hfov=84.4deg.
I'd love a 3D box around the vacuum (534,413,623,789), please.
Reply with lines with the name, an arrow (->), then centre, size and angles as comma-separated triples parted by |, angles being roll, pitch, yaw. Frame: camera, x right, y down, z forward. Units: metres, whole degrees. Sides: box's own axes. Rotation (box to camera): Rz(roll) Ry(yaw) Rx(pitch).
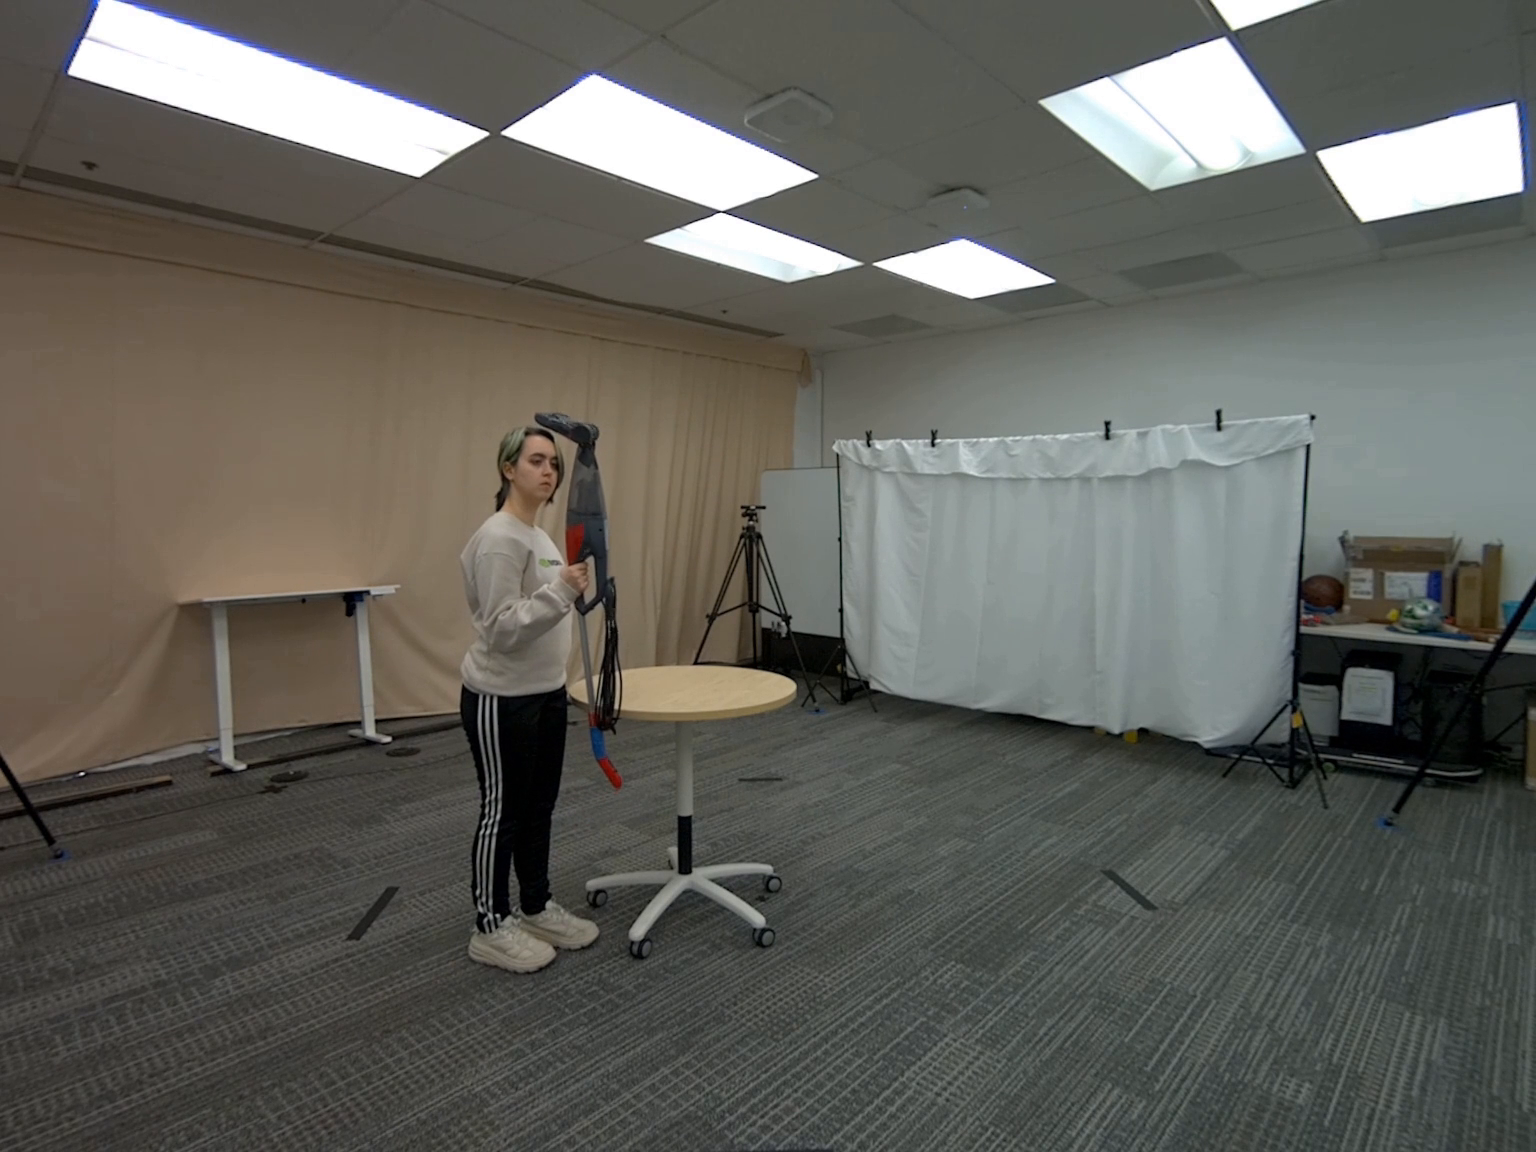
vacuum -> -0.494, 0.087, 2.349 | 0.145, 1.042, 0.253 | -4, 10, 3
